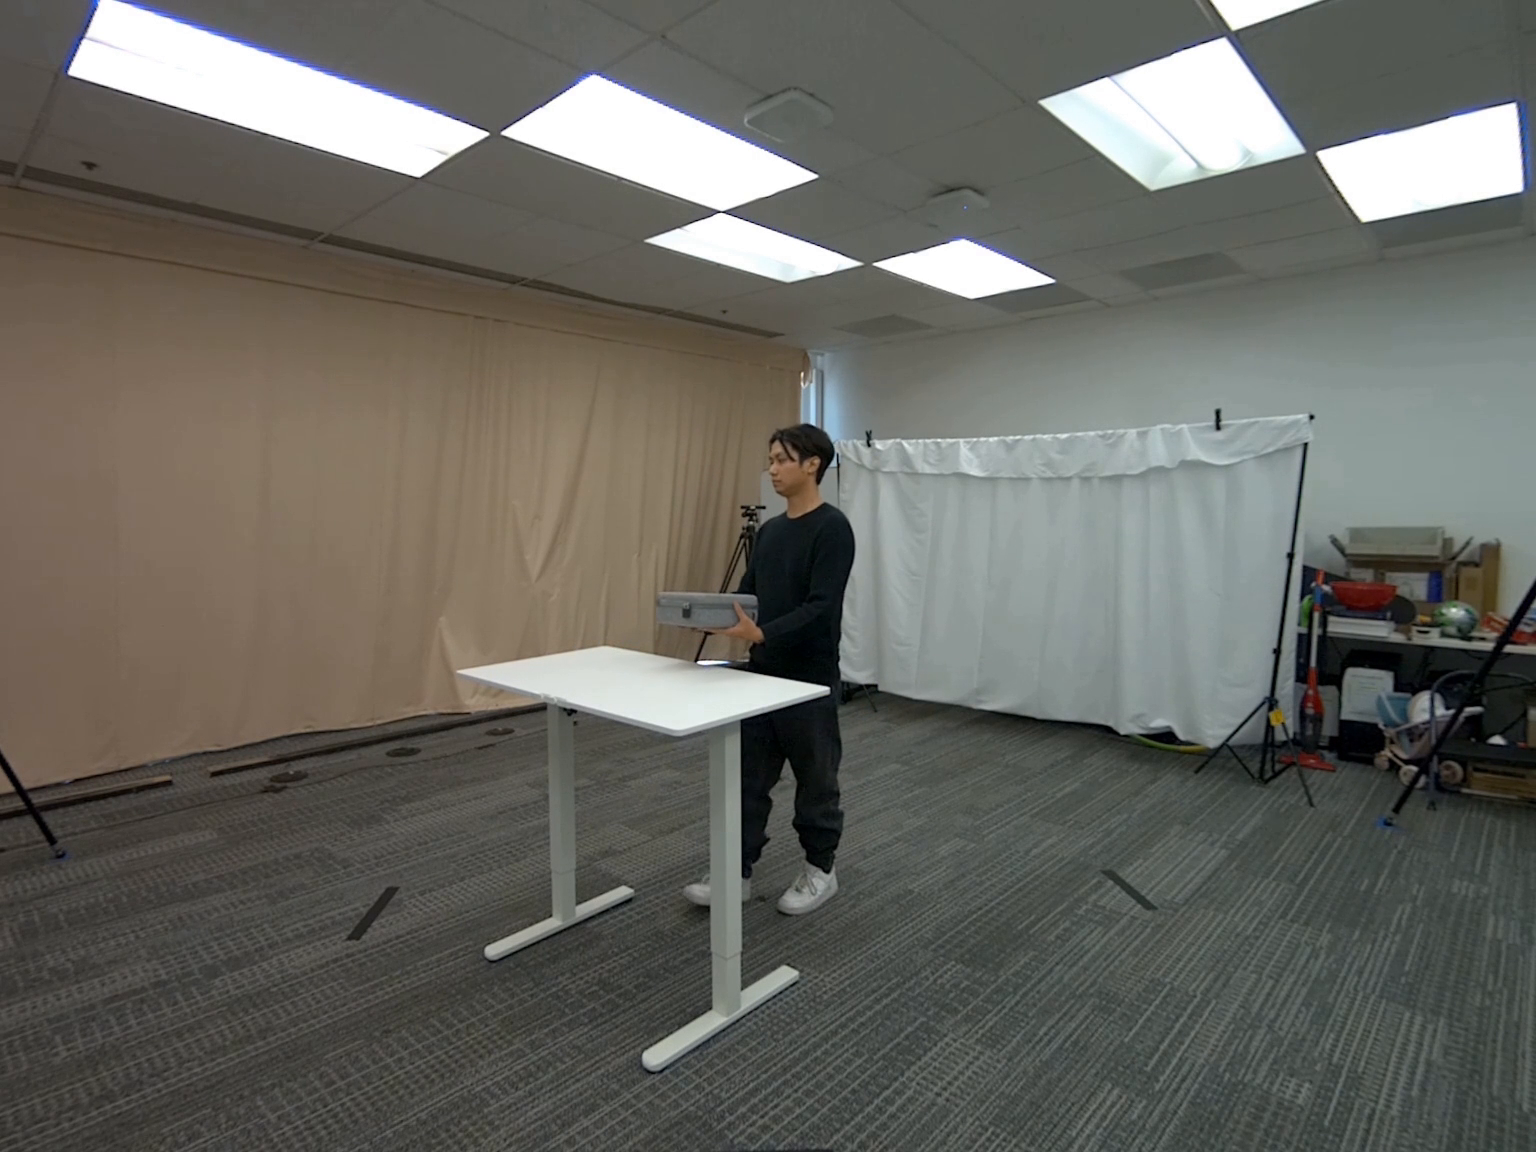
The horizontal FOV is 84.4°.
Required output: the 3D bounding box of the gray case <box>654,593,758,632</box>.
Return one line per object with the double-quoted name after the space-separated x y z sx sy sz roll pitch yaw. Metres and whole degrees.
-0.179 0.111 2.694 0.252 0.104 0.265 2 -1 -43 "gray case"
